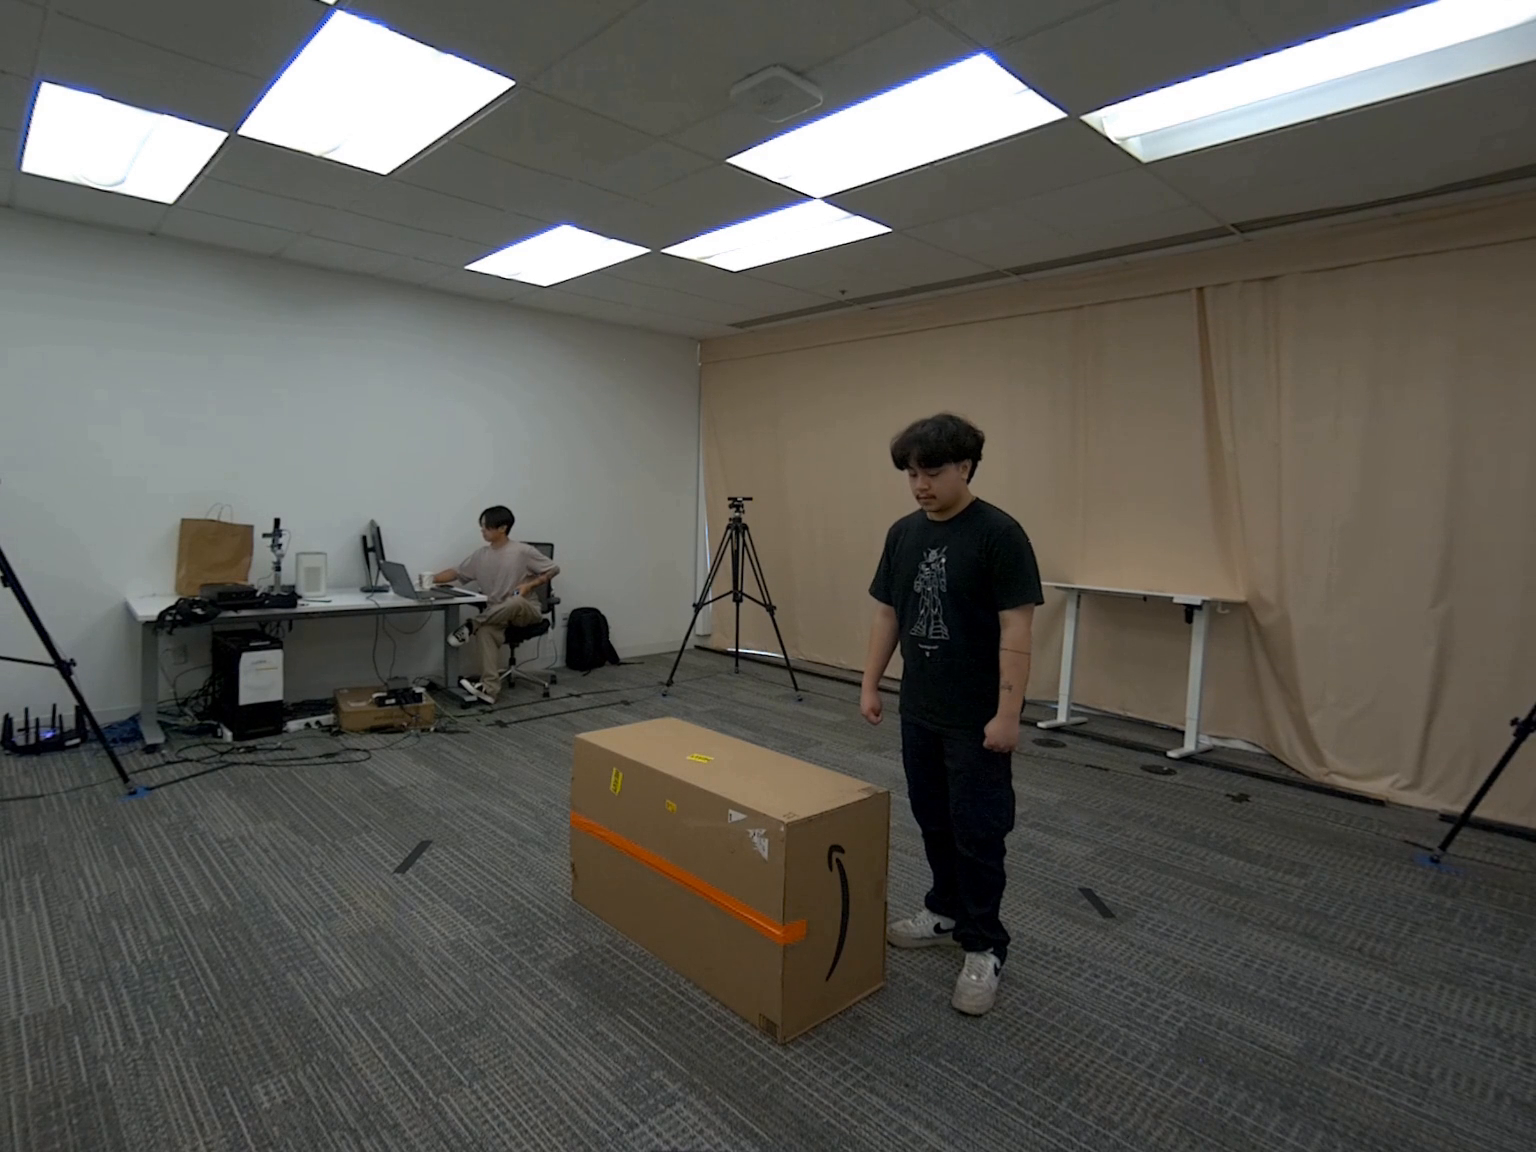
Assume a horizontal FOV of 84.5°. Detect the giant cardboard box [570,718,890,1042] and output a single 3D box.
[{"bbox_3d":[-0.173,0.865,2.645,0.437,0.582,1.053,-3,6,-43],"label":"giant cardboard box"}]
